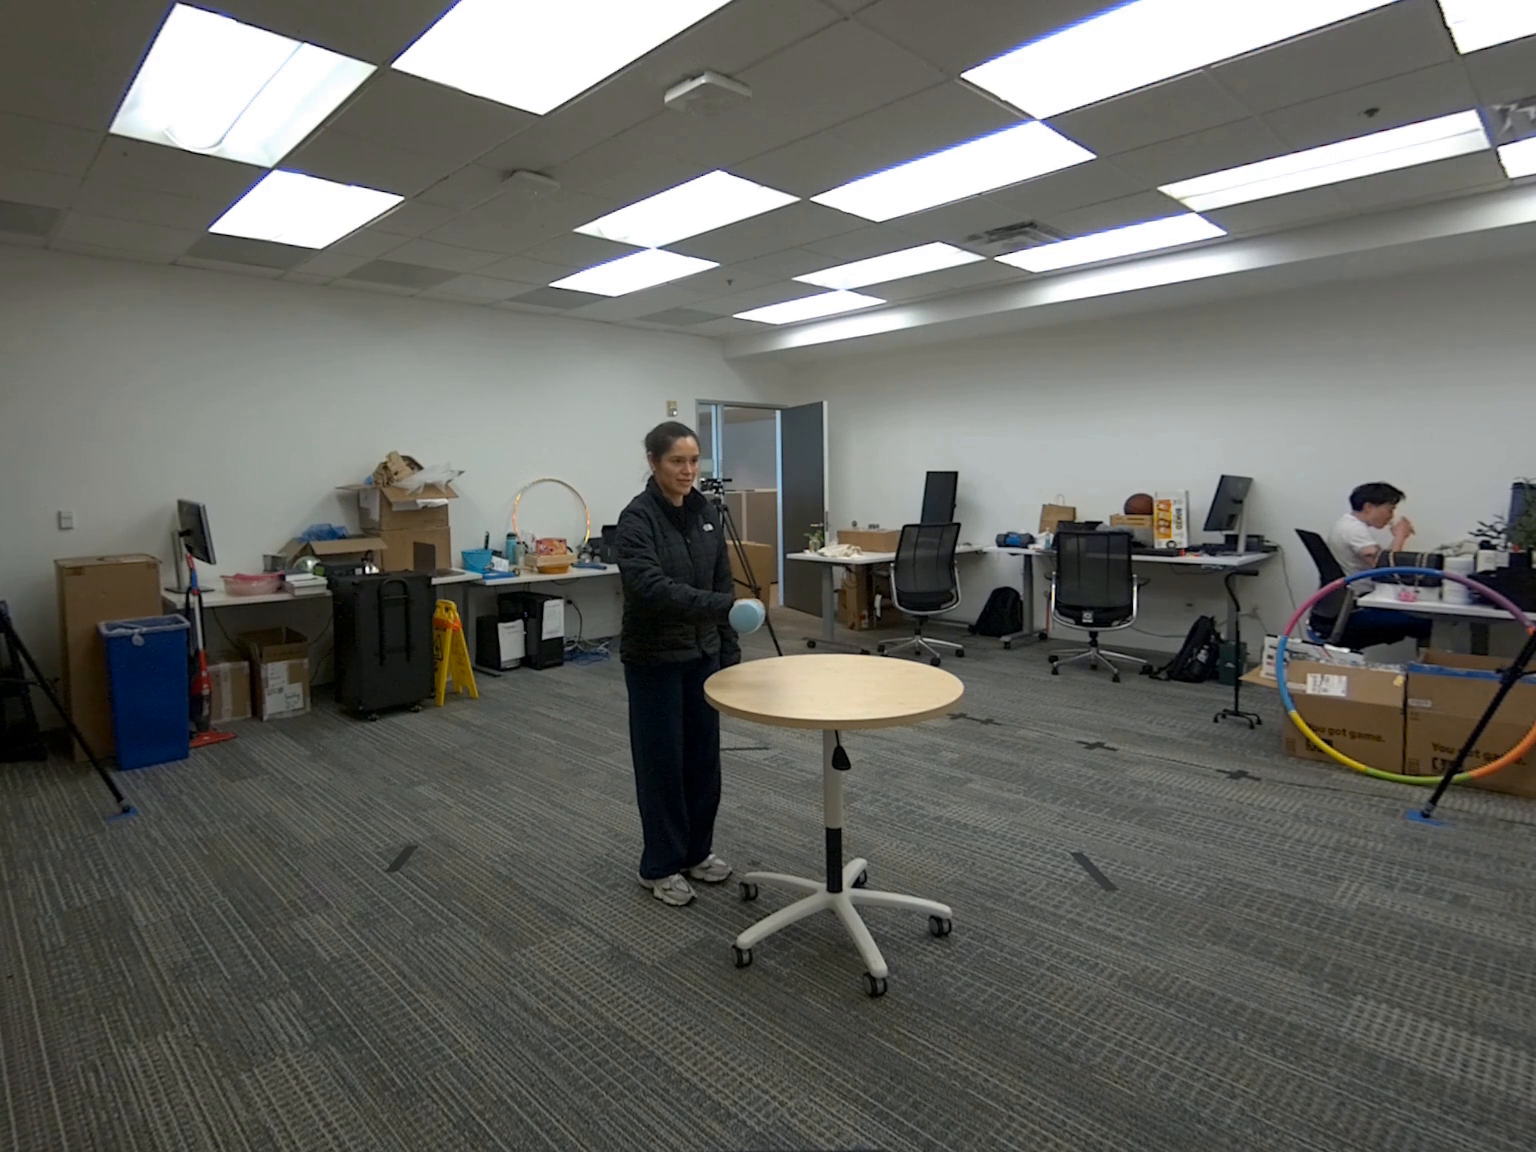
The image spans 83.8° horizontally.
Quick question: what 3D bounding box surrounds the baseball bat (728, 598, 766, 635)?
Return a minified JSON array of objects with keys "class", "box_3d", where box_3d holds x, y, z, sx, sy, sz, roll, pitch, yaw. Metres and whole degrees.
[{"class":"baseball bat","box_3d":[-0.024,0.121,2.510,0.089,0.089,0.539,0,0,4]}]
